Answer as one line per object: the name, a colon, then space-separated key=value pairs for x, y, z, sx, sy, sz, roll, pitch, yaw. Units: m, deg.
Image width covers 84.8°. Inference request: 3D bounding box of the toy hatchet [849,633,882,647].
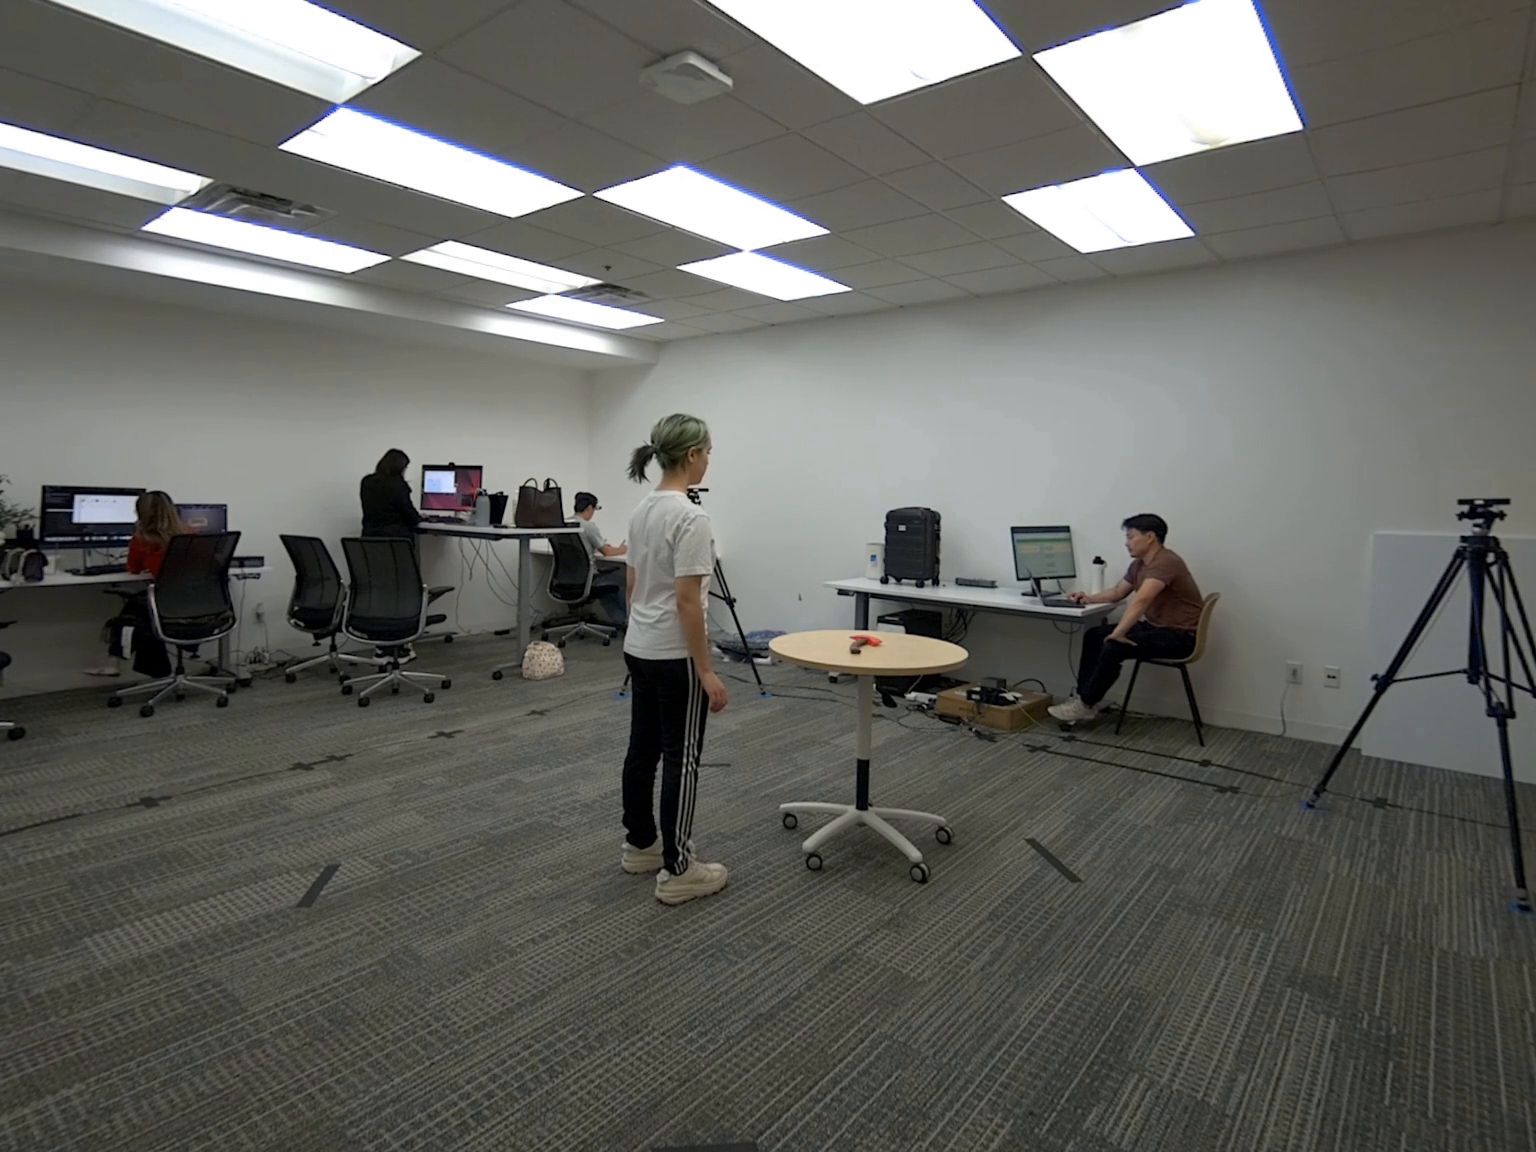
toy hatchet: x=0.373 y=0.266 z=3.310 sx=0.132 sy=0.029 sz=0.270 roll=6 pitch=9 yaw=4
